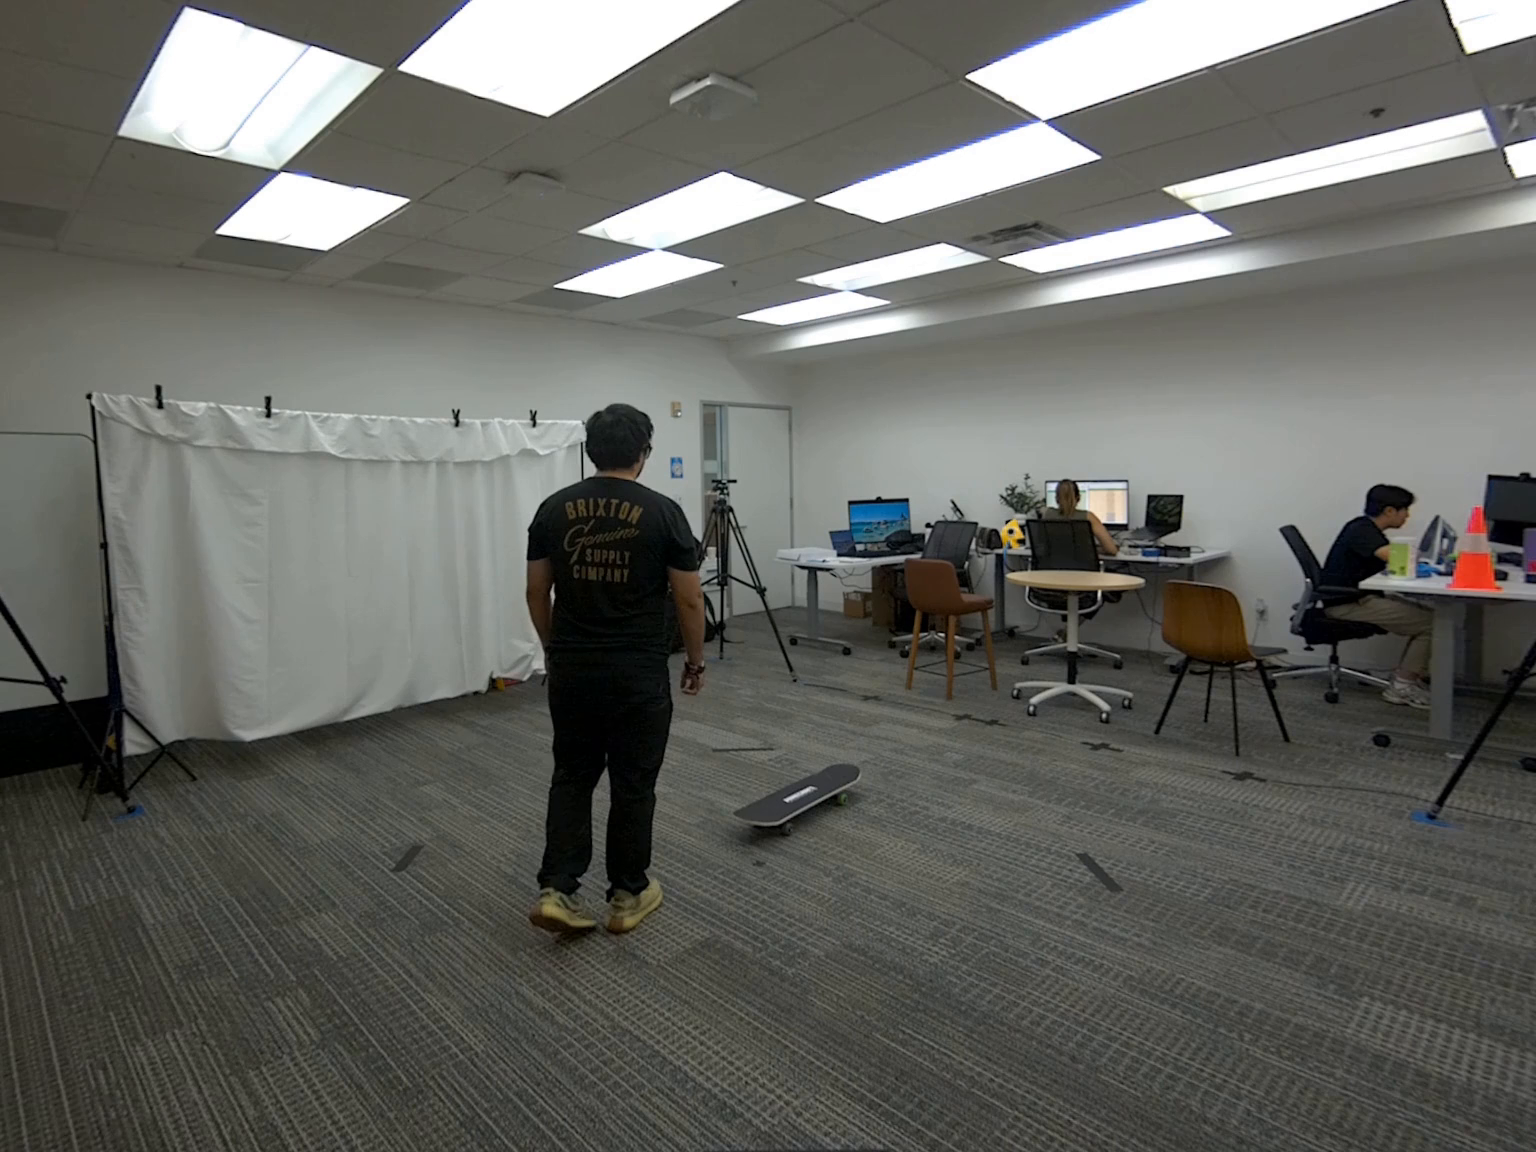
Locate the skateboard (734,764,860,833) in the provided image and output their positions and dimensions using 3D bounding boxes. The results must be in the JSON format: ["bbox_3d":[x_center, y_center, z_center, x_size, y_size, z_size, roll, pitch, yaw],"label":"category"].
[{"bbox_3d":[0.136,0.935,3.552,0.199,0.110,0.766,4,8,38],"label":"skateboard"}]
